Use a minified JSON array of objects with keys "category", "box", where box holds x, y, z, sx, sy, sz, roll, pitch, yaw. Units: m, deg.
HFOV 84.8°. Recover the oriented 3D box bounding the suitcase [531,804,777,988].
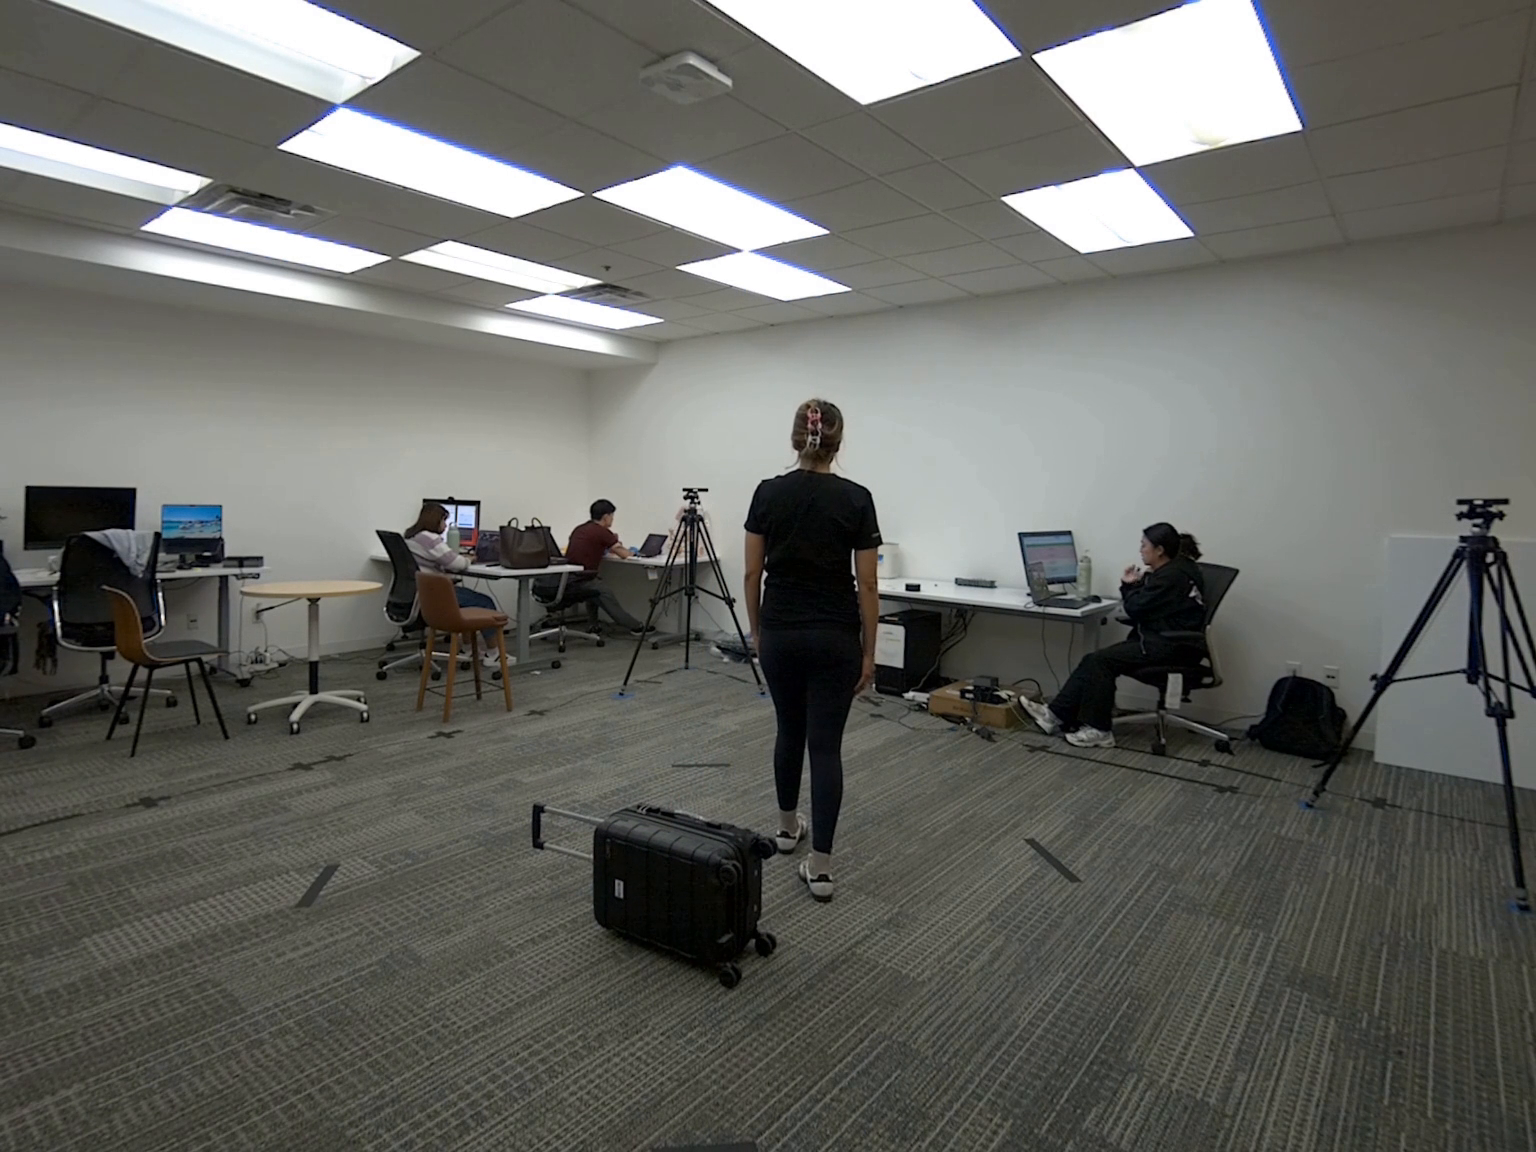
[{"category":"suitcase","box":[-0.458,0.916,2.702,1.008,0.383,0.250,4,4,30]}]
